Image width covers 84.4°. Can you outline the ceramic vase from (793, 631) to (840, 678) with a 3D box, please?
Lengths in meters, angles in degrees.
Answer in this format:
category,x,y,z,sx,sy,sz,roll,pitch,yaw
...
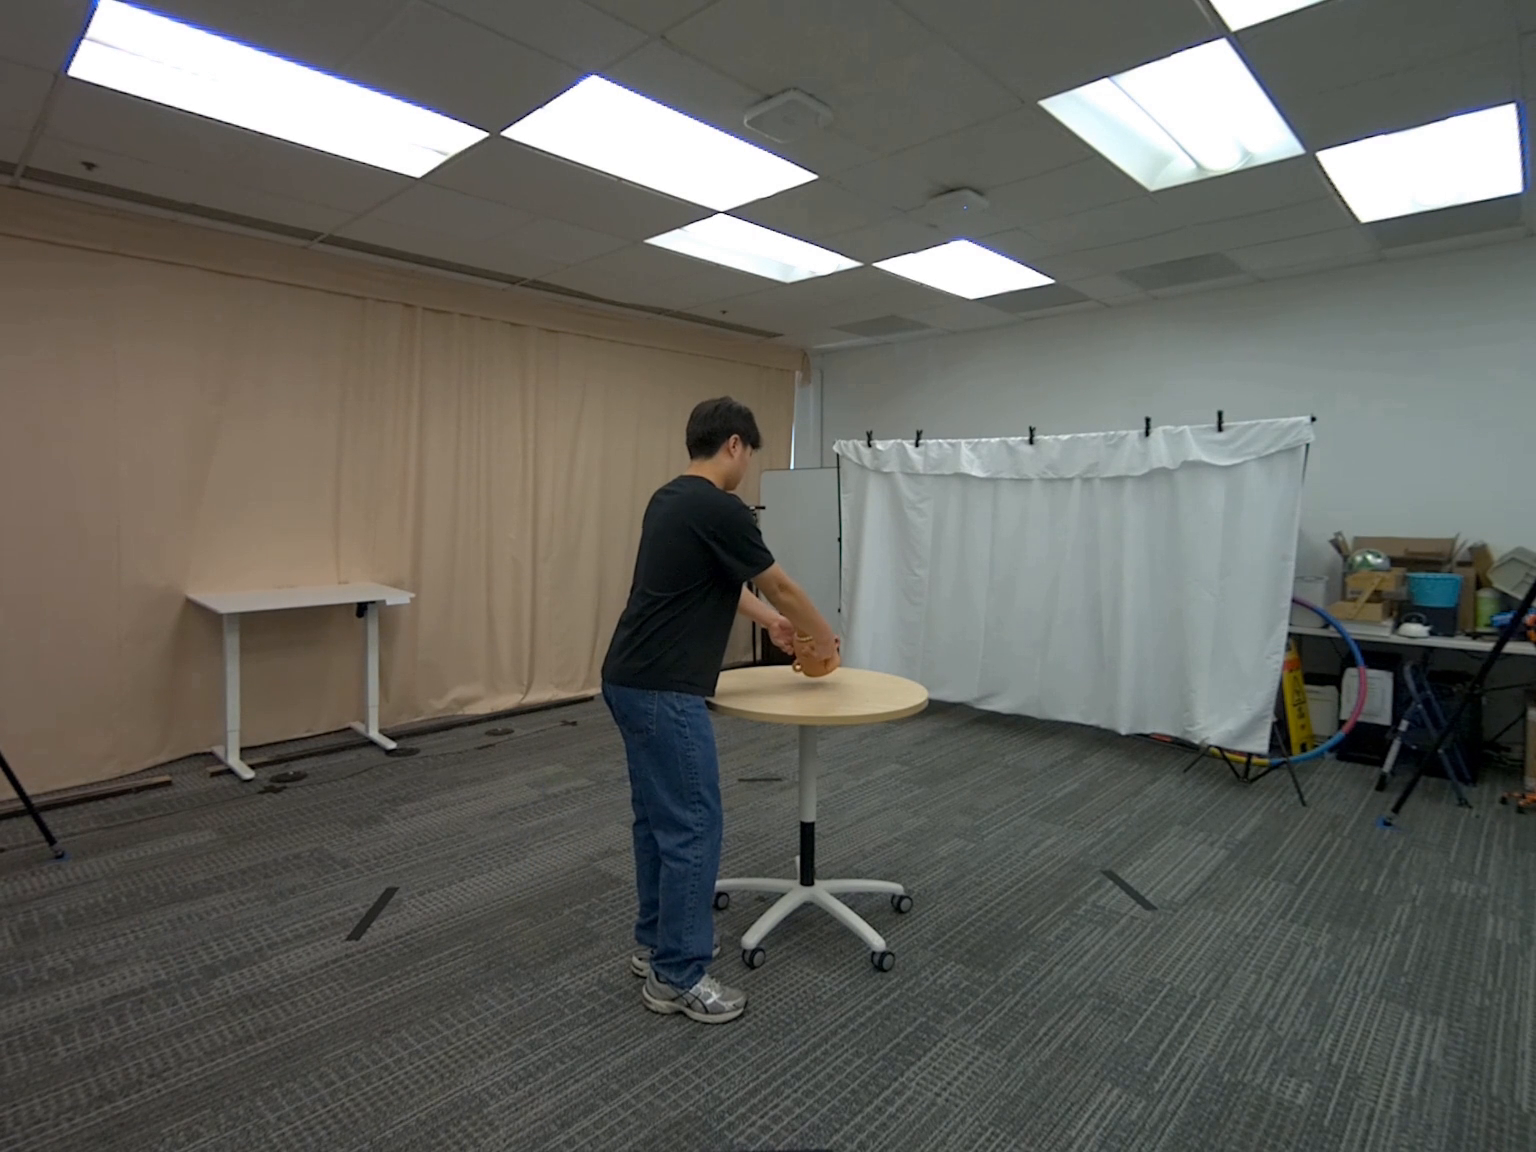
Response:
category,x,y,z,sx,sy,sz,roll,pitch,yaw
ceramic vase,0.148,0.209,2.764,0.138,0.215,0.158,-10,25,26
